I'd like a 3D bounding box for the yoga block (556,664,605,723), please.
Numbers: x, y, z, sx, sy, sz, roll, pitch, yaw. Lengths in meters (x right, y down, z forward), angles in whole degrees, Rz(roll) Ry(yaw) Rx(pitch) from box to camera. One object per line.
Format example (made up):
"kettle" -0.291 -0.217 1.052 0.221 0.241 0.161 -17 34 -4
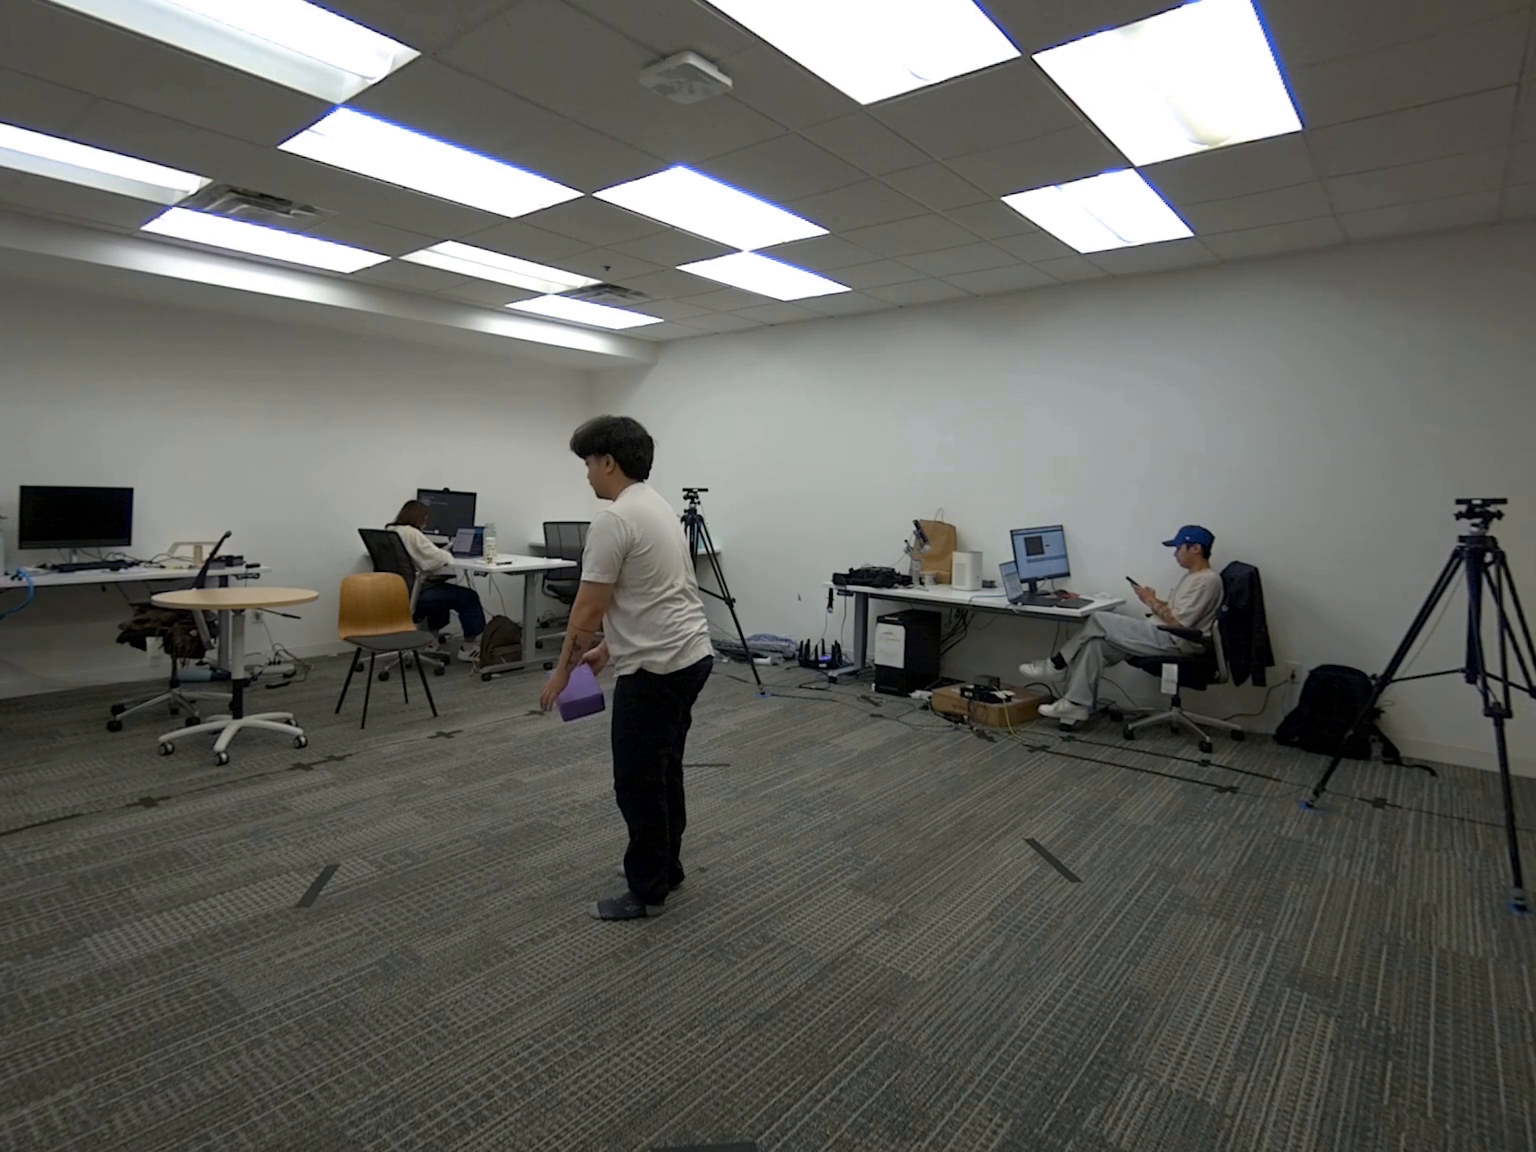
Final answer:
"yoga block" -0.682 0.393 2.928 0.147 0.075 0.237 -9 24 -18
